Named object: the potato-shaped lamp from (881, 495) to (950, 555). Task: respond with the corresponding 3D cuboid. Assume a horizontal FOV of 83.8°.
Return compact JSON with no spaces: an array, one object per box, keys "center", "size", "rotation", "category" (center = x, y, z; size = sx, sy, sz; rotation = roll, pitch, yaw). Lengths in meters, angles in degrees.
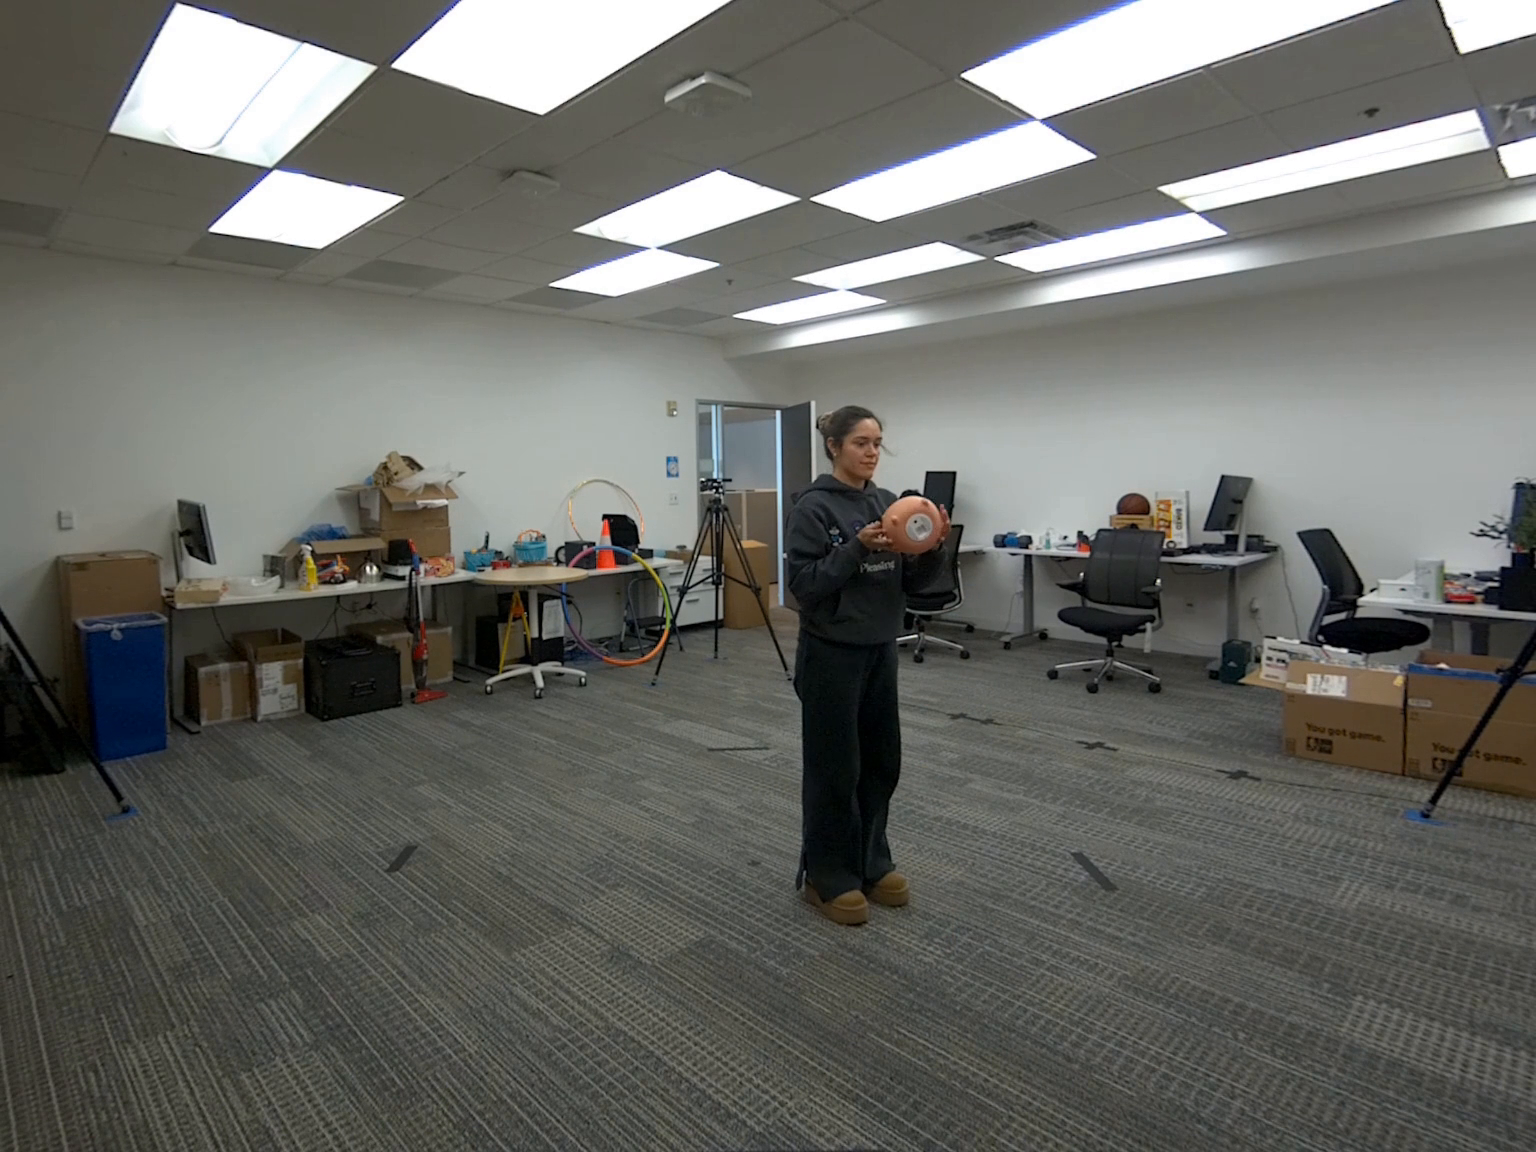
[{"center":[0.420,-0.146,2.510],"size":[0.164,0.168,0.202],"rotation":[-32,16,-1],"category":"potato-shaped lamp"}]
